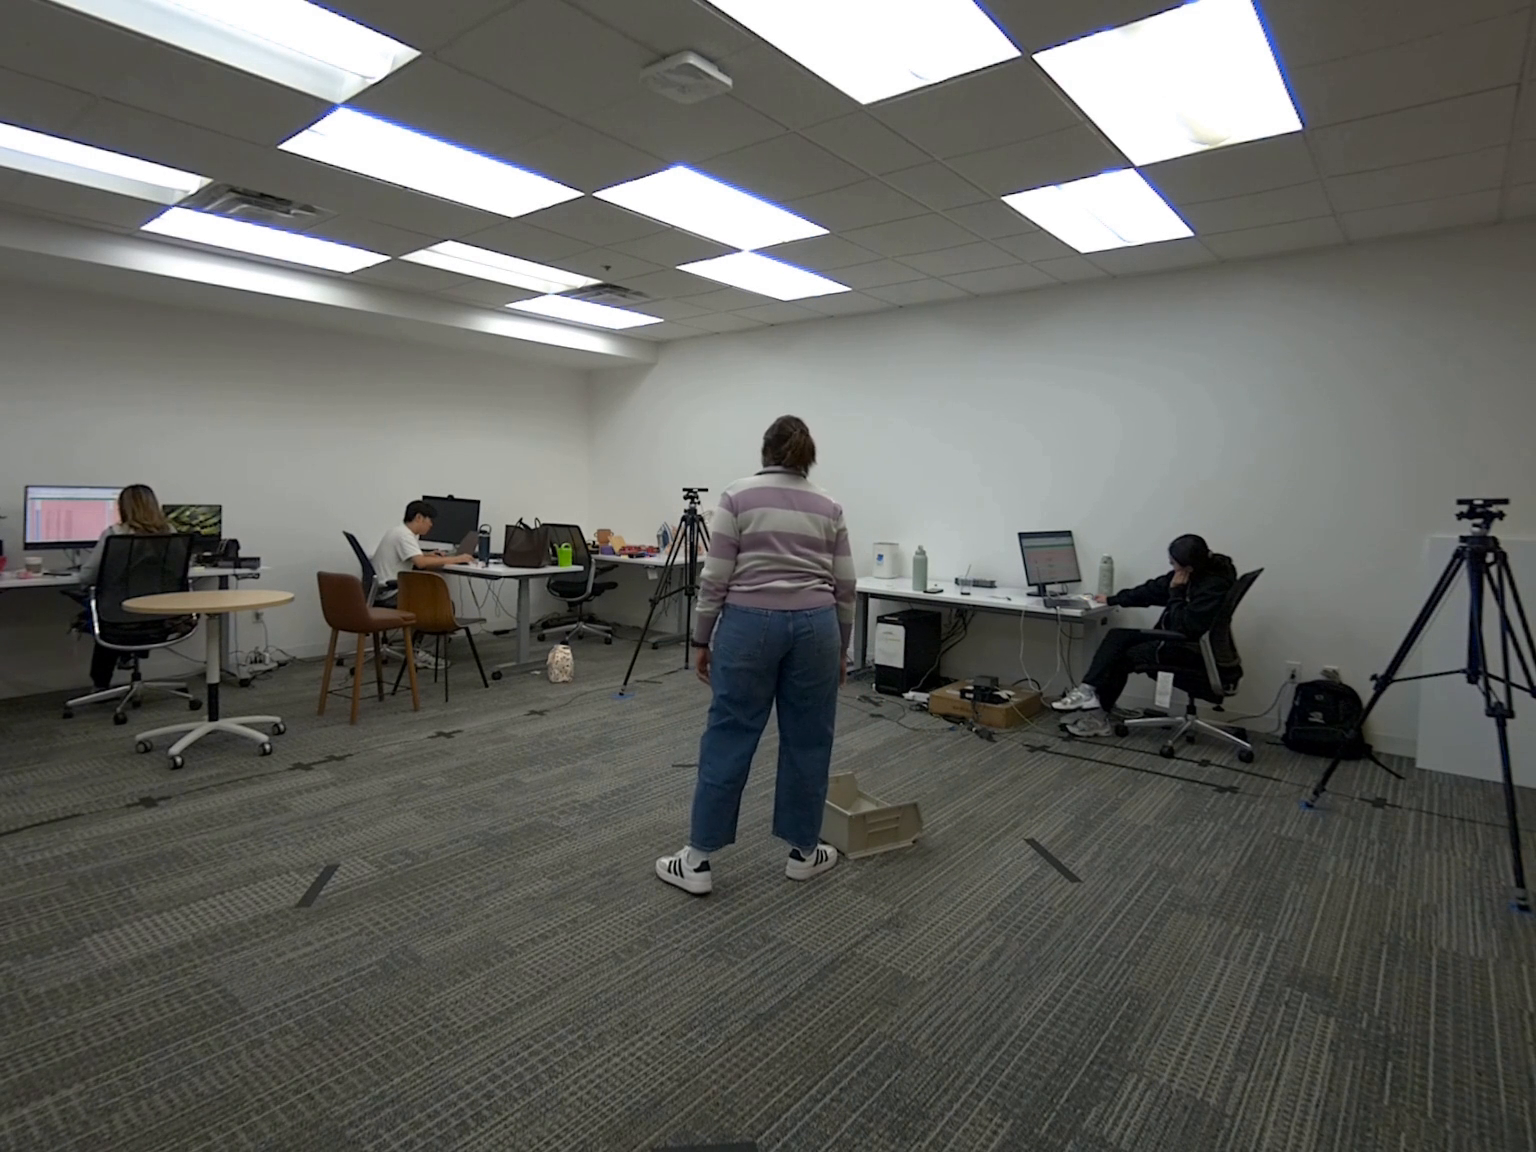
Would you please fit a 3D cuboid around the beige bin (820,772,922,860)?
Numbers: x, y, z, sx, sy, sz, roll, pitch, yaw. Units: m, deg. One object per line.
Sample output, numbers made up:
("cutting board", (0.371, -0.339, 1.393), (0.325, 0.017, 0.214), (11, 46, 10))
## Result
("beige bin", (0.341, 0.957, 3.473), (0.367, 0.188, 0.436), (-3, 7, -31))
